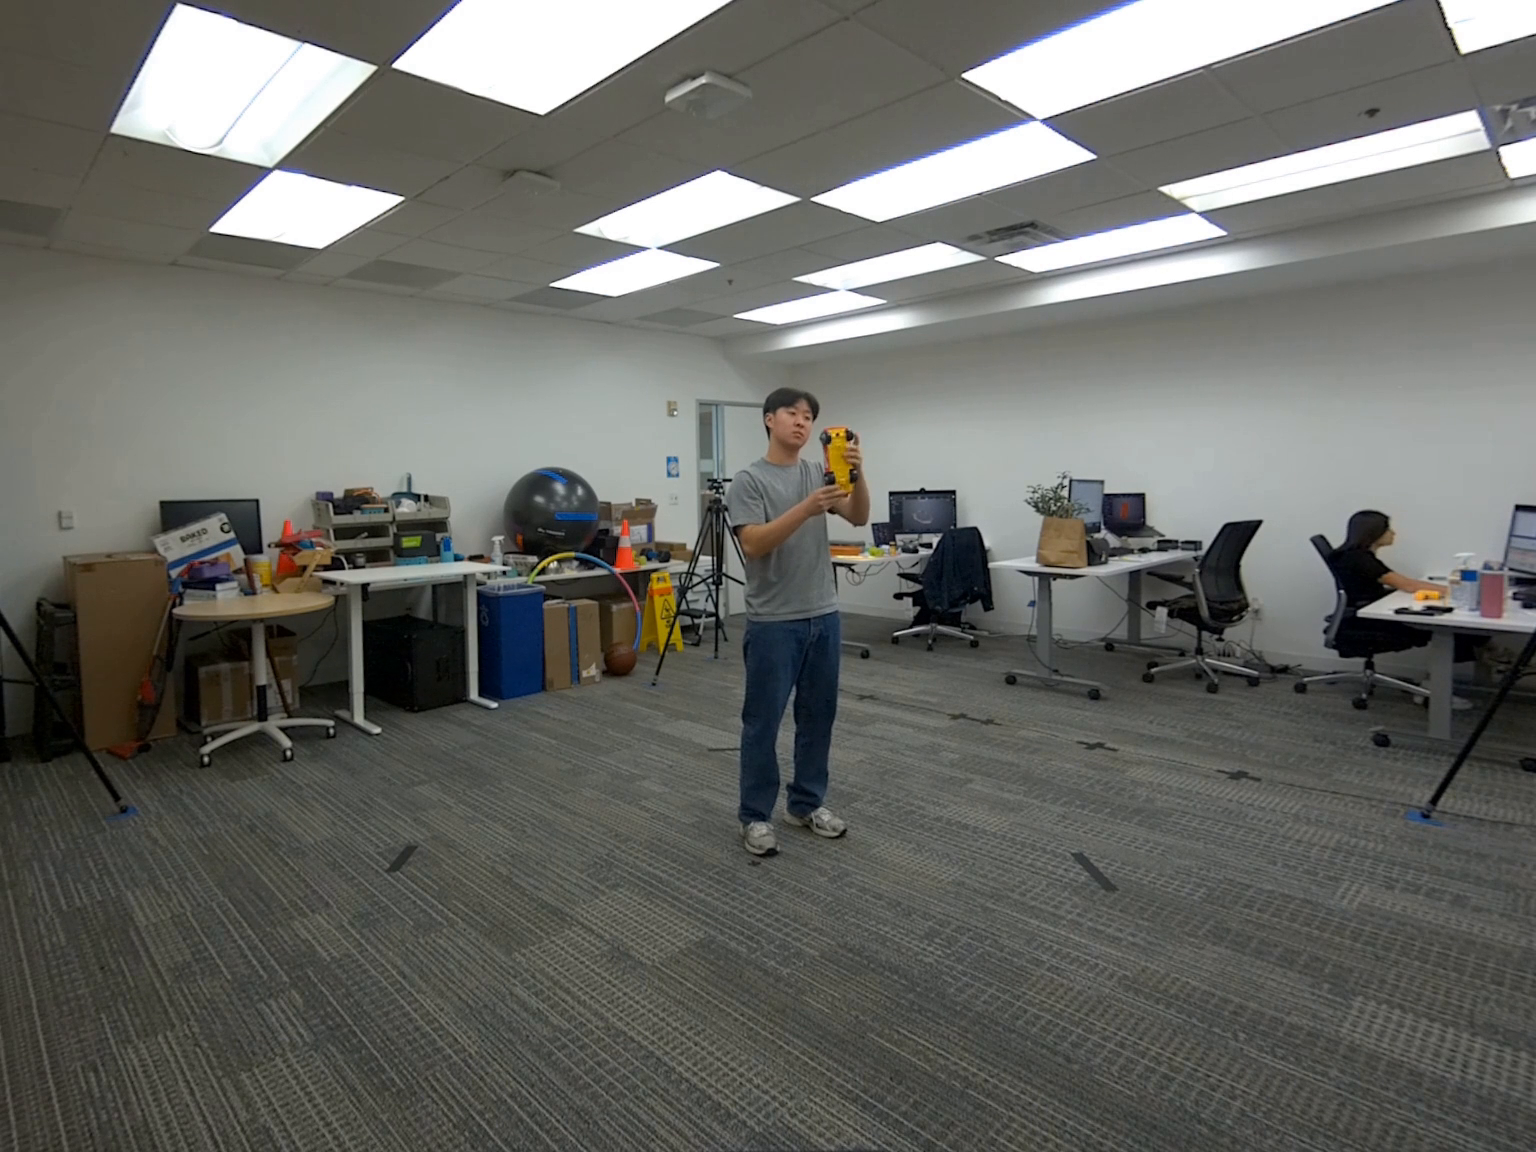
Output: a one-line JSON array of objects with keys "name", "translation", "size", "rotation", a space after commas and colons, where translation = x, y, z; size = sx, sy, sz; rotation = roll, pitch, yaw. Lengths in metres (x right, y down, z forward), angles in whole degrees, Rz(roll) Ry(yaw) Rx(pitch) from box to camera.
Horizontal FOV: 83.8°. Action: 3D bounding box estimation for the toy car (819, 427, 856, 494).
[{"name": "toy car", "translation": [0.253, -0.394, 3.027], "size": [0.128, 0.250, 0.086], "rotation": [-8, 18, -20]}]
